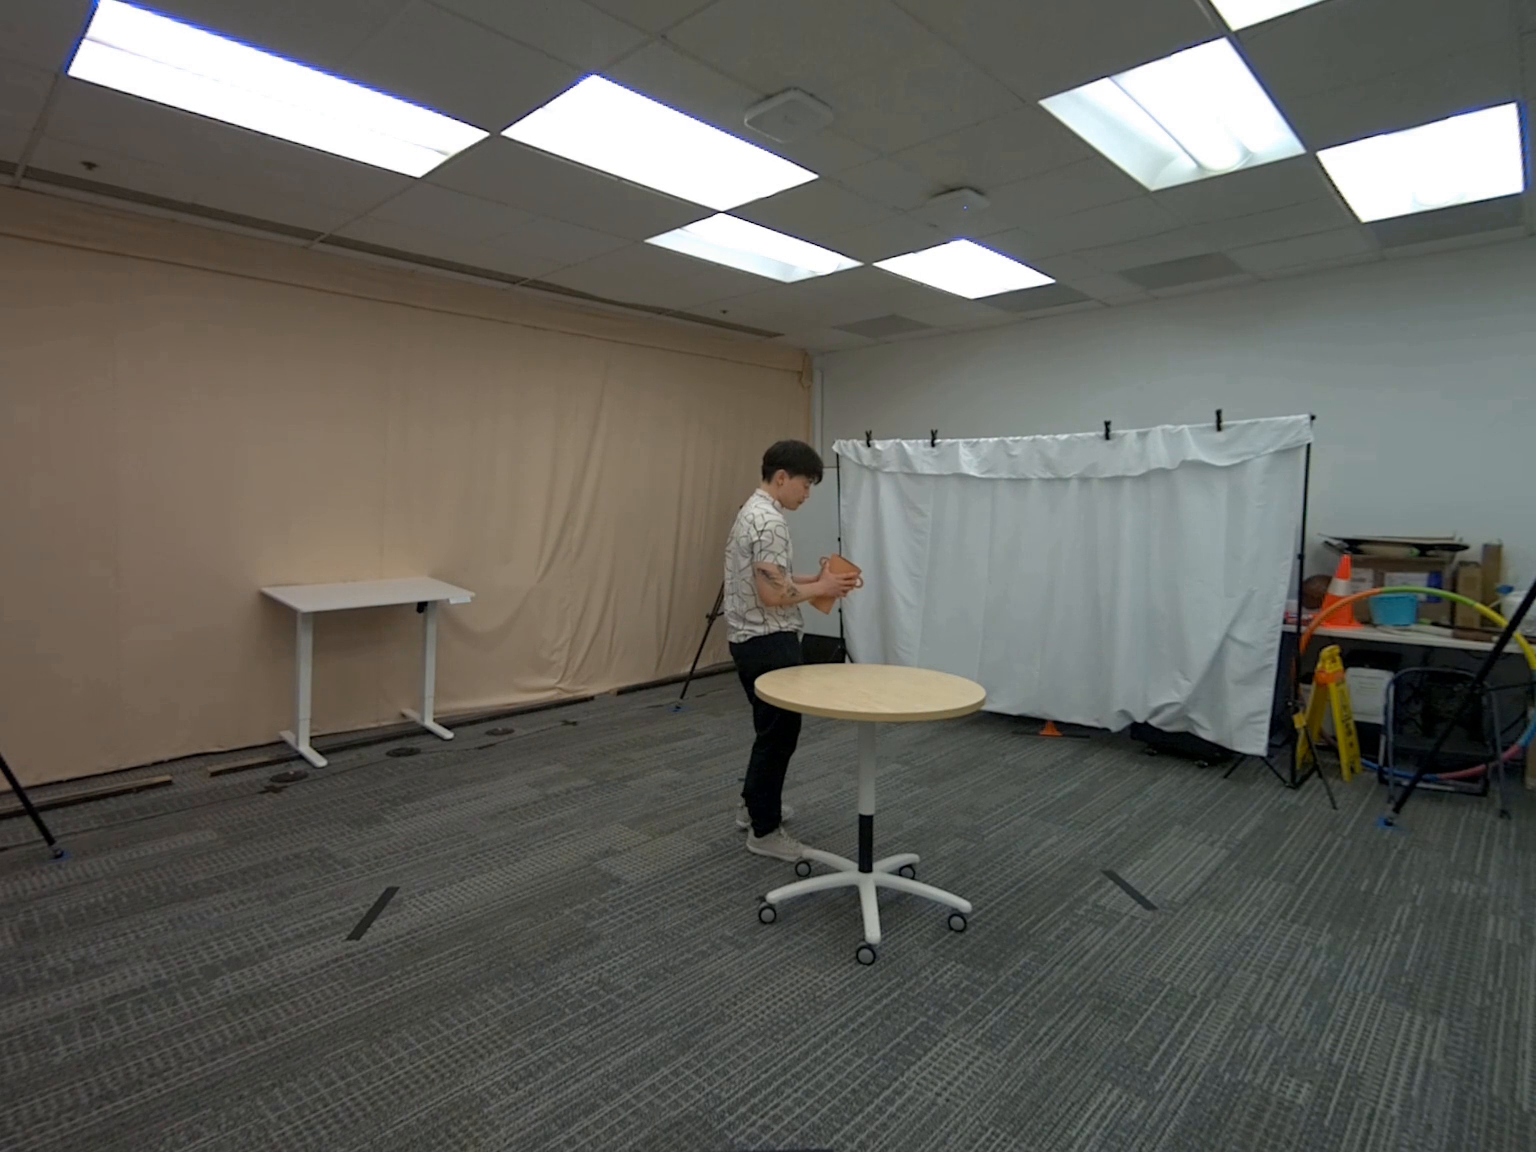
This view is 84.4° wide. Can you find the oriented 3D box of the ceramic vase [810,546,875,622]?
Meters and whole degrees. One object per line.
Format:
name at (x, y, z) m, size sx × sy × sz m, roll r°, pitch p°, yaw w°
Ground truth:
ceramic vase at (0.270, 0.031, 3.340) m, size 0.130 × 0.220 × 0.165 m, roll 23°, pitch 12°, yaw -48°
